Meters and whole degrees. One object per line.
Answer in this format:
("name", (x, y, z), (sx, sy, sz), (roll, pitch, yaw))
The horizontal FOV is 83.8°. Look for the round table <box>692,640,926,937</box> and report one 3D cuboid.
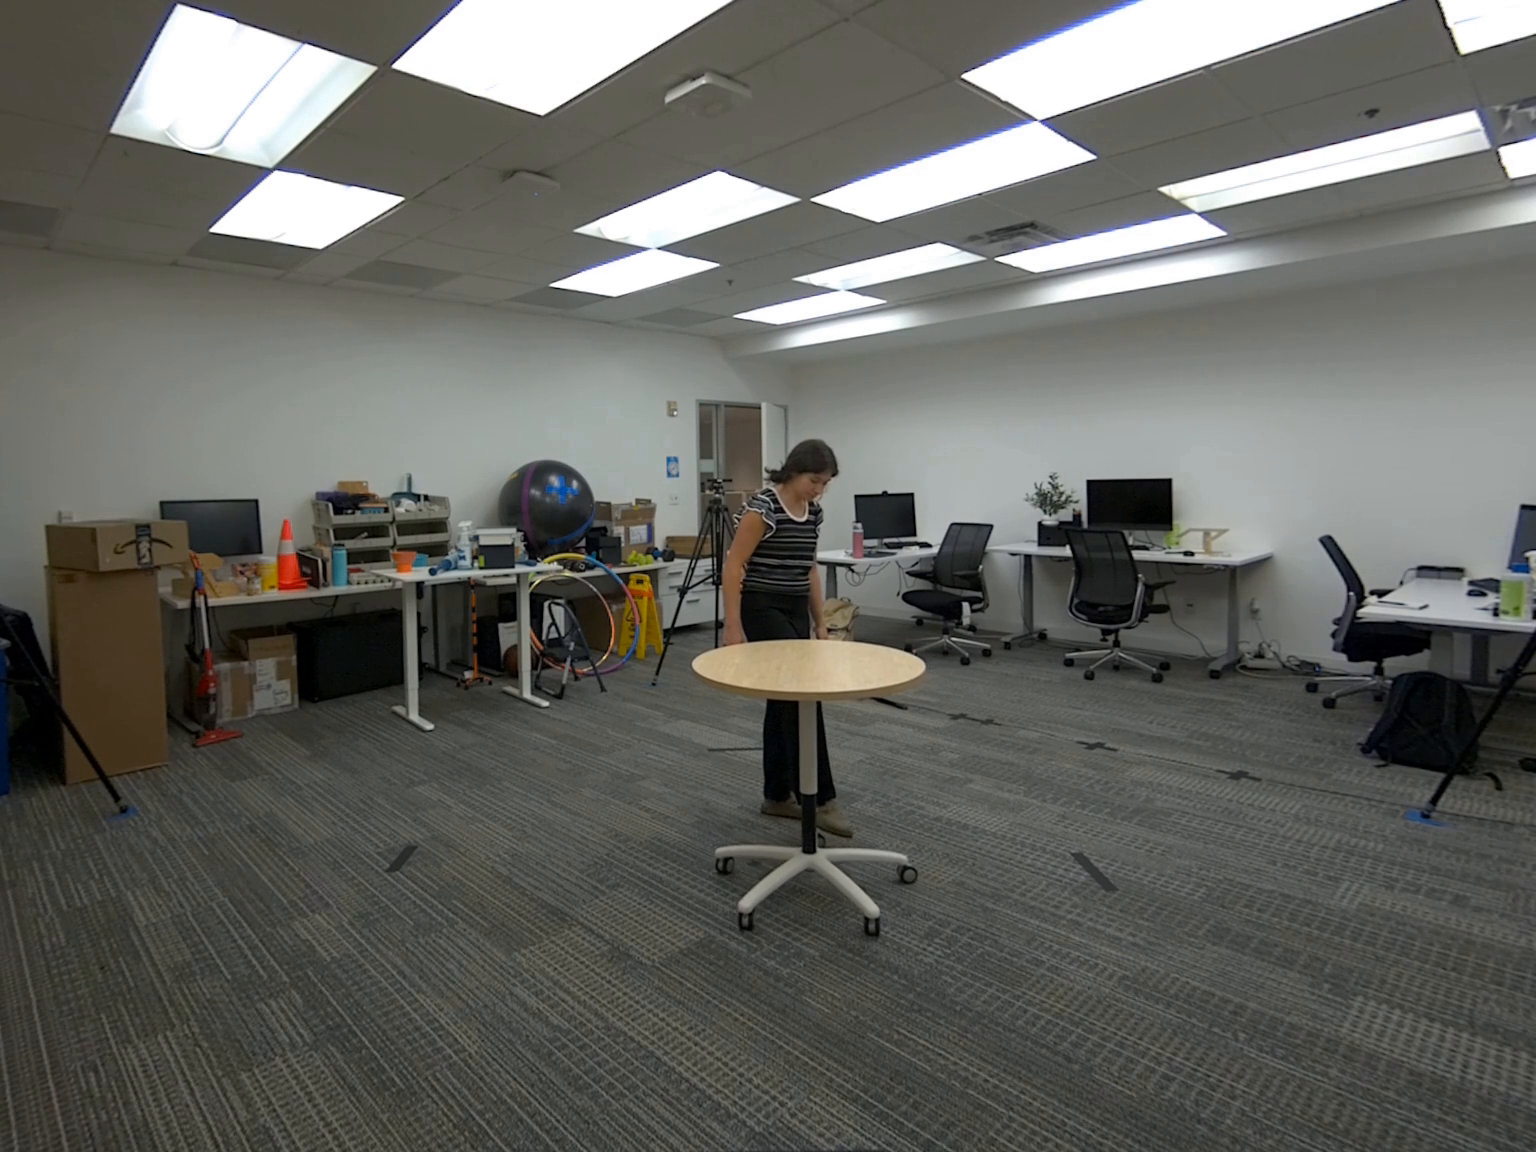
("round table", (0.129, 0.677, 2.871), (0.784, 0.784, 0.789), (-1, 5, -2))
